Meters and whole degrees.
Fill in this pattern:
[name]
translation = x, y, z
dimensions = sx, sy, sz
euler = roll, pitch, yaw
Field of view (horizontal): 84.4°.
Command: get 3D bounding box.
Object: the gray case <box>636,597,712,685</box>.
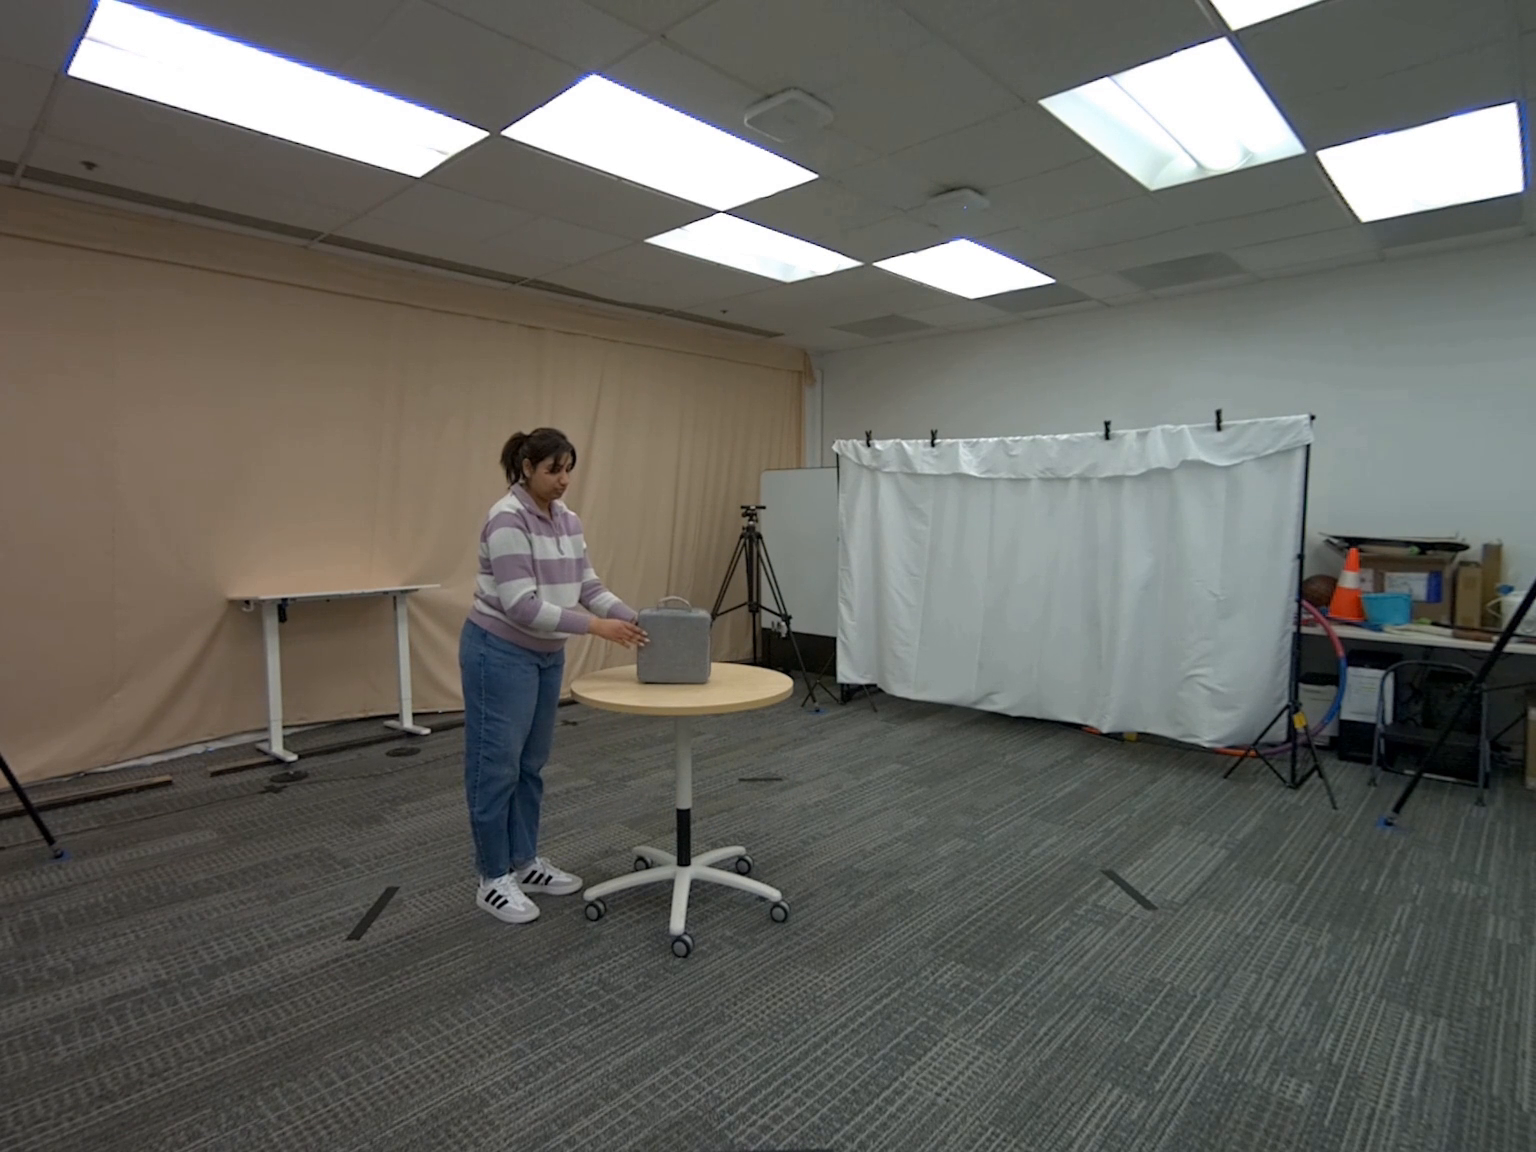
[gray case]
translation = -0.319, 0.239, 2.884
dimensions = 0.257, 0.259, 0.105
euler = 0, 6, 0
